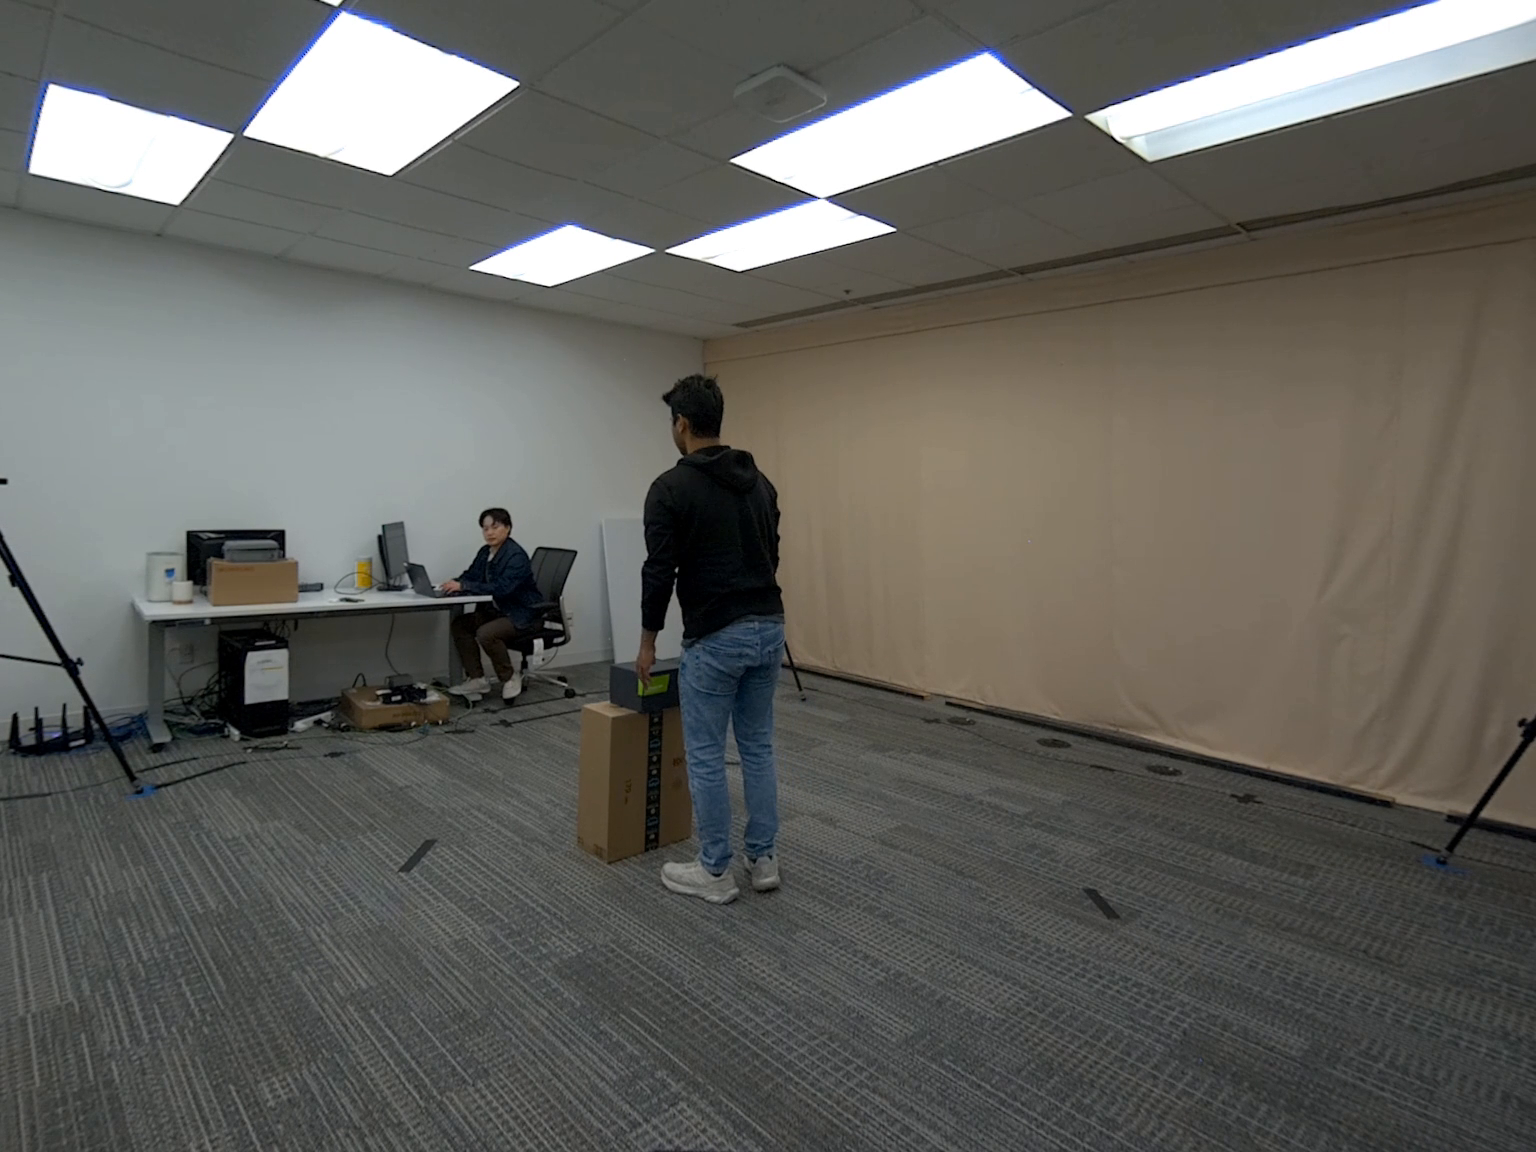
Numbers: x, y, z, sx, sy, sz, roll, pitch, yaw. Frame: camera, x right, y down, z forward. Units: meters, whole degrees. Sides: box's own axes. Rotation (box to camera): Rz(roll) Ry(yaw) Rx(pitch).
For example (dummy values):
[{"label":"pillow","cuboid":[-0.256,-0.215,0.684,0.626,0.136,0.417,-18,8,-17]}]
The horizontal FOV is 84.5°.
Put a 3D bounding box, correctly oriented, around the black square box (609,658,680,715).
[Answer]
[{"label":"black square box","cuboid":[-0.480,0.430,3.353,0.222,0.155,0.223,6,7,44]}]
